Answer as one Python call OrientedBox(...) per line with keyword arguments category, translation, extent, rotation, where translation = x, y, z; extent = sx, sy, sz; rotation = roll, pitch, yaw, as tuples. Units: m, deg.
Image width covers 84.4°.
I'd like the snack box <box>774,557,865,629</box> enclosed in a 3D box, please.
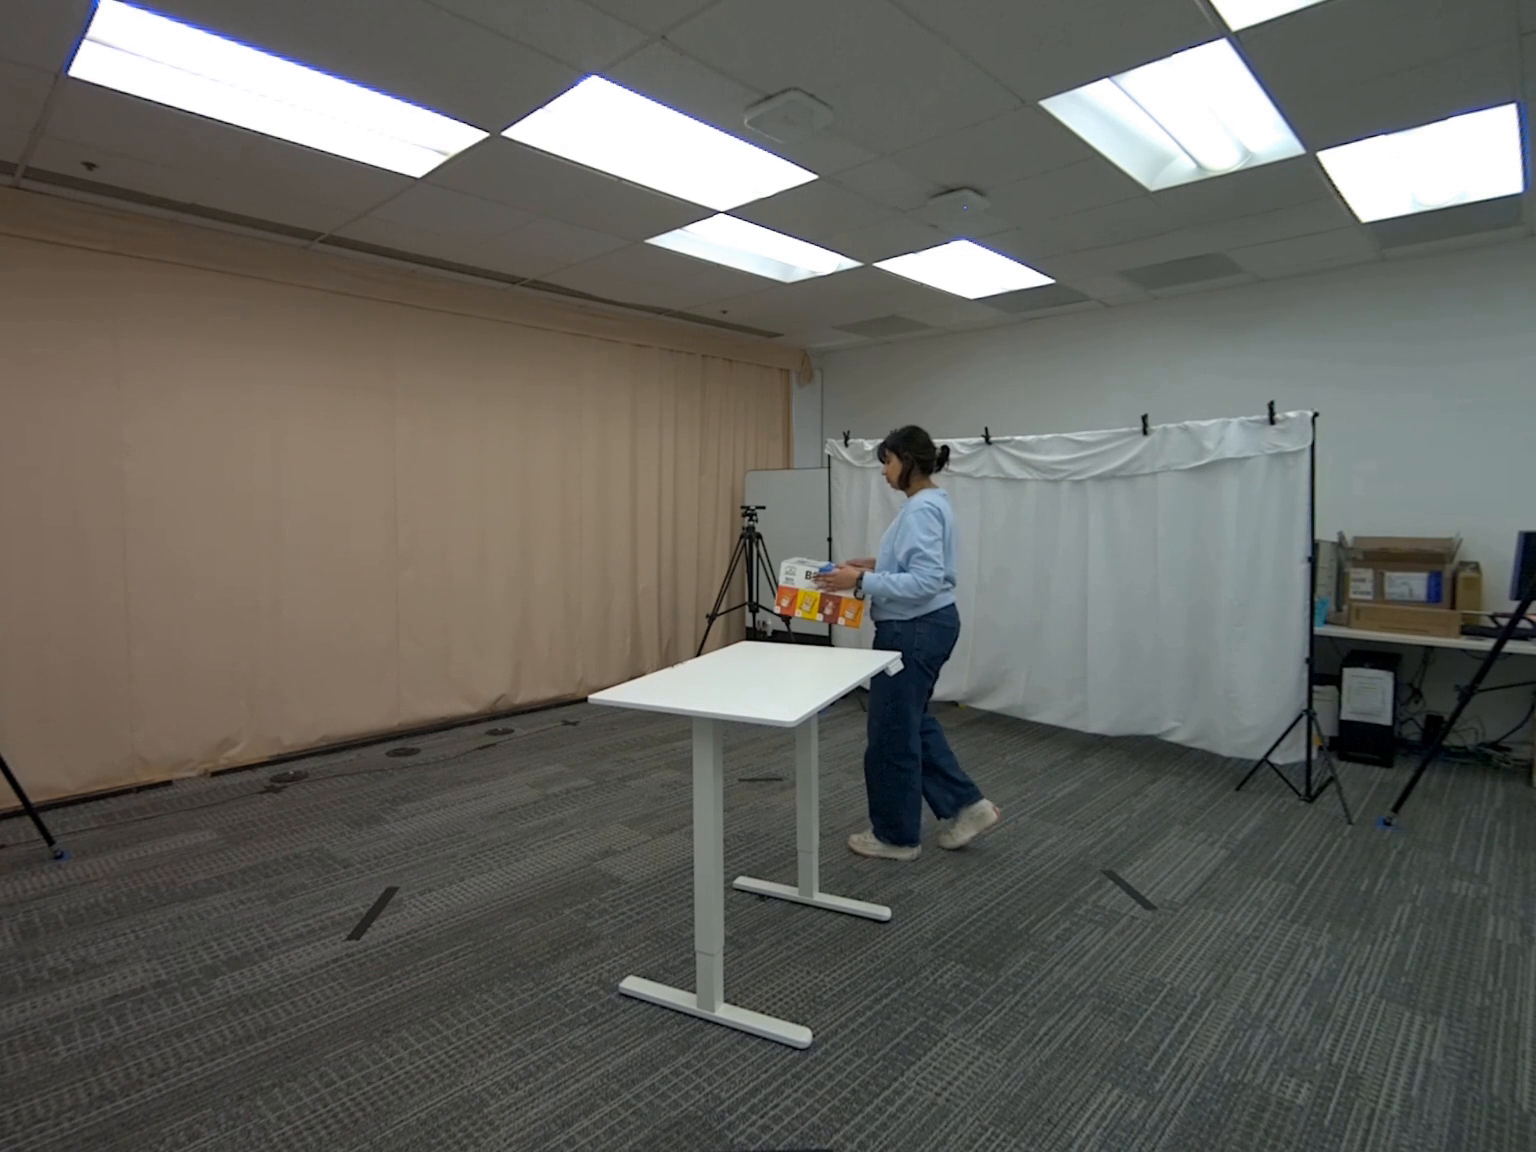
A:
OrientedBox(category="snack box", translation=(0.243, 0.062, 3.421), extent=(0.345, 0.205, 0.400), rotation=(9, 6, 11))
